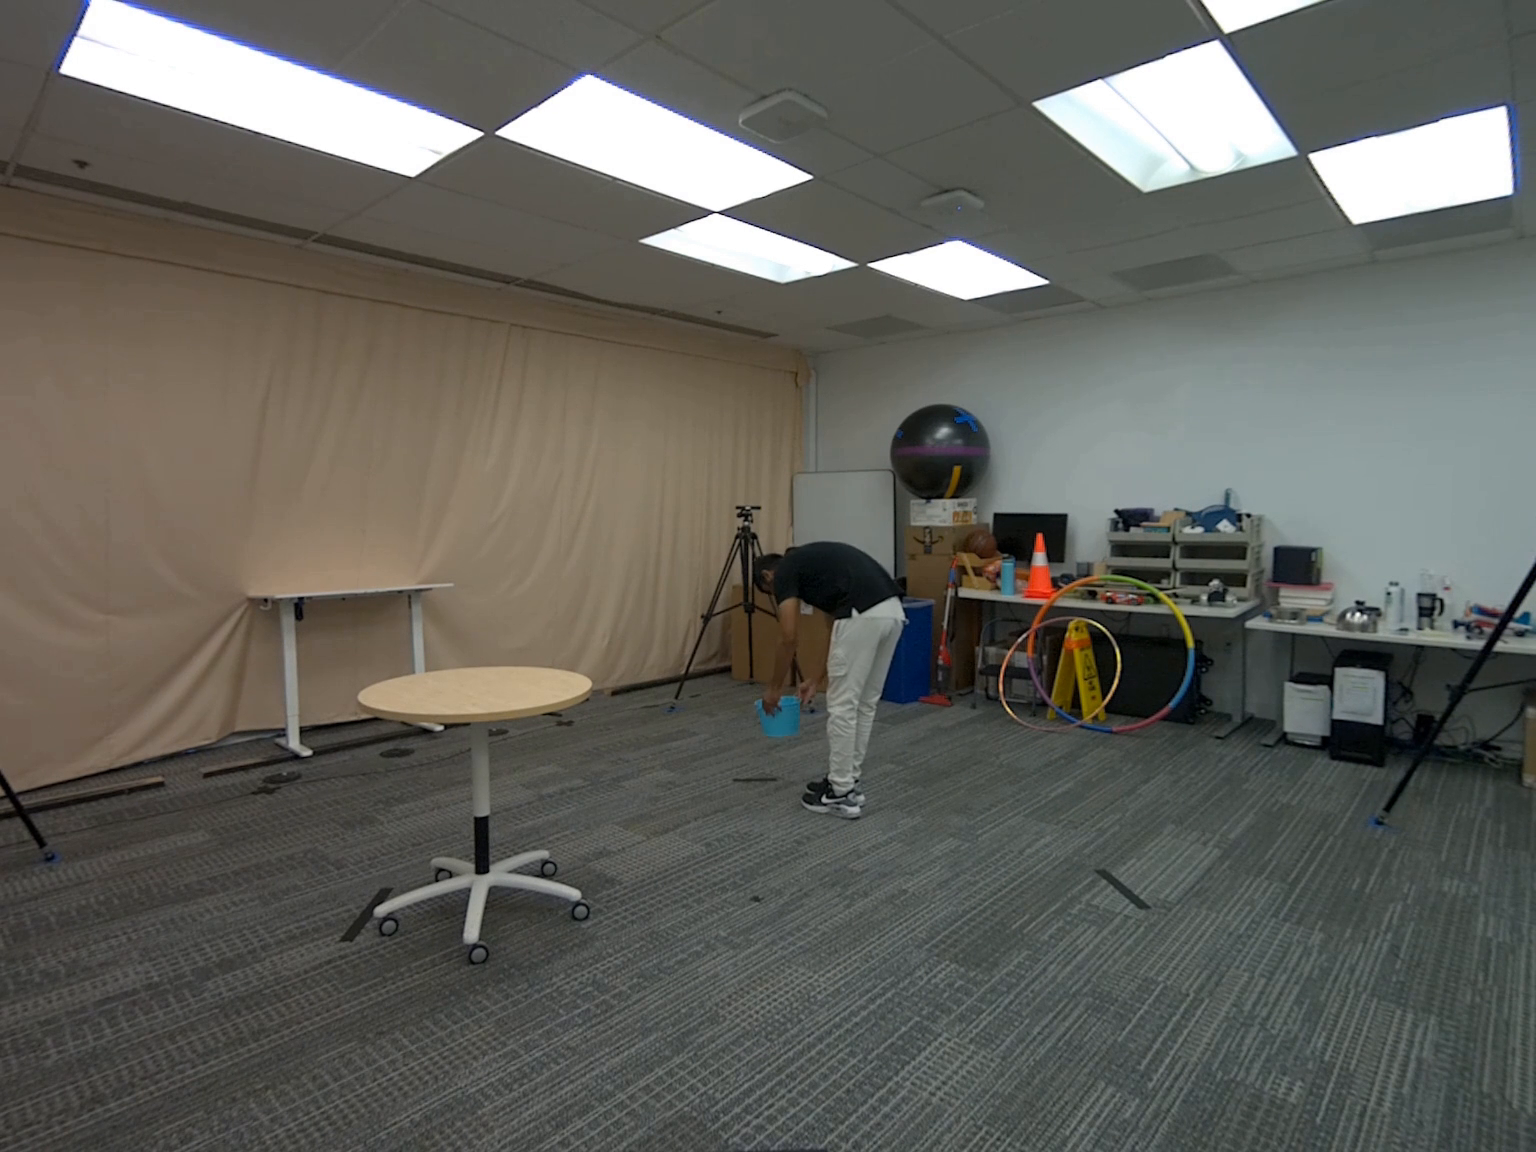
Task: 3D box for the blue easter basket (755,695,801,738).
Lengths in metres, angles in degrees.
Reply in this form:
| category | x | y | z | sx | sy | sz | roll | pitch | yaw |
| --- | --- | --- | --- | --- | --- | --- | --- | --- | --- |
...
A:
| category | x | y | z | sx | sy | sz | roll | pitch | yaw |
| --- | --- | --- | --- | --- | --- | --- | --- | --- | --- |
| blue easter basket | 0.059 | 0.675 | 4.128 | 0.243 | 0.156 | 0.244 | -3 | 1 | -2 |
